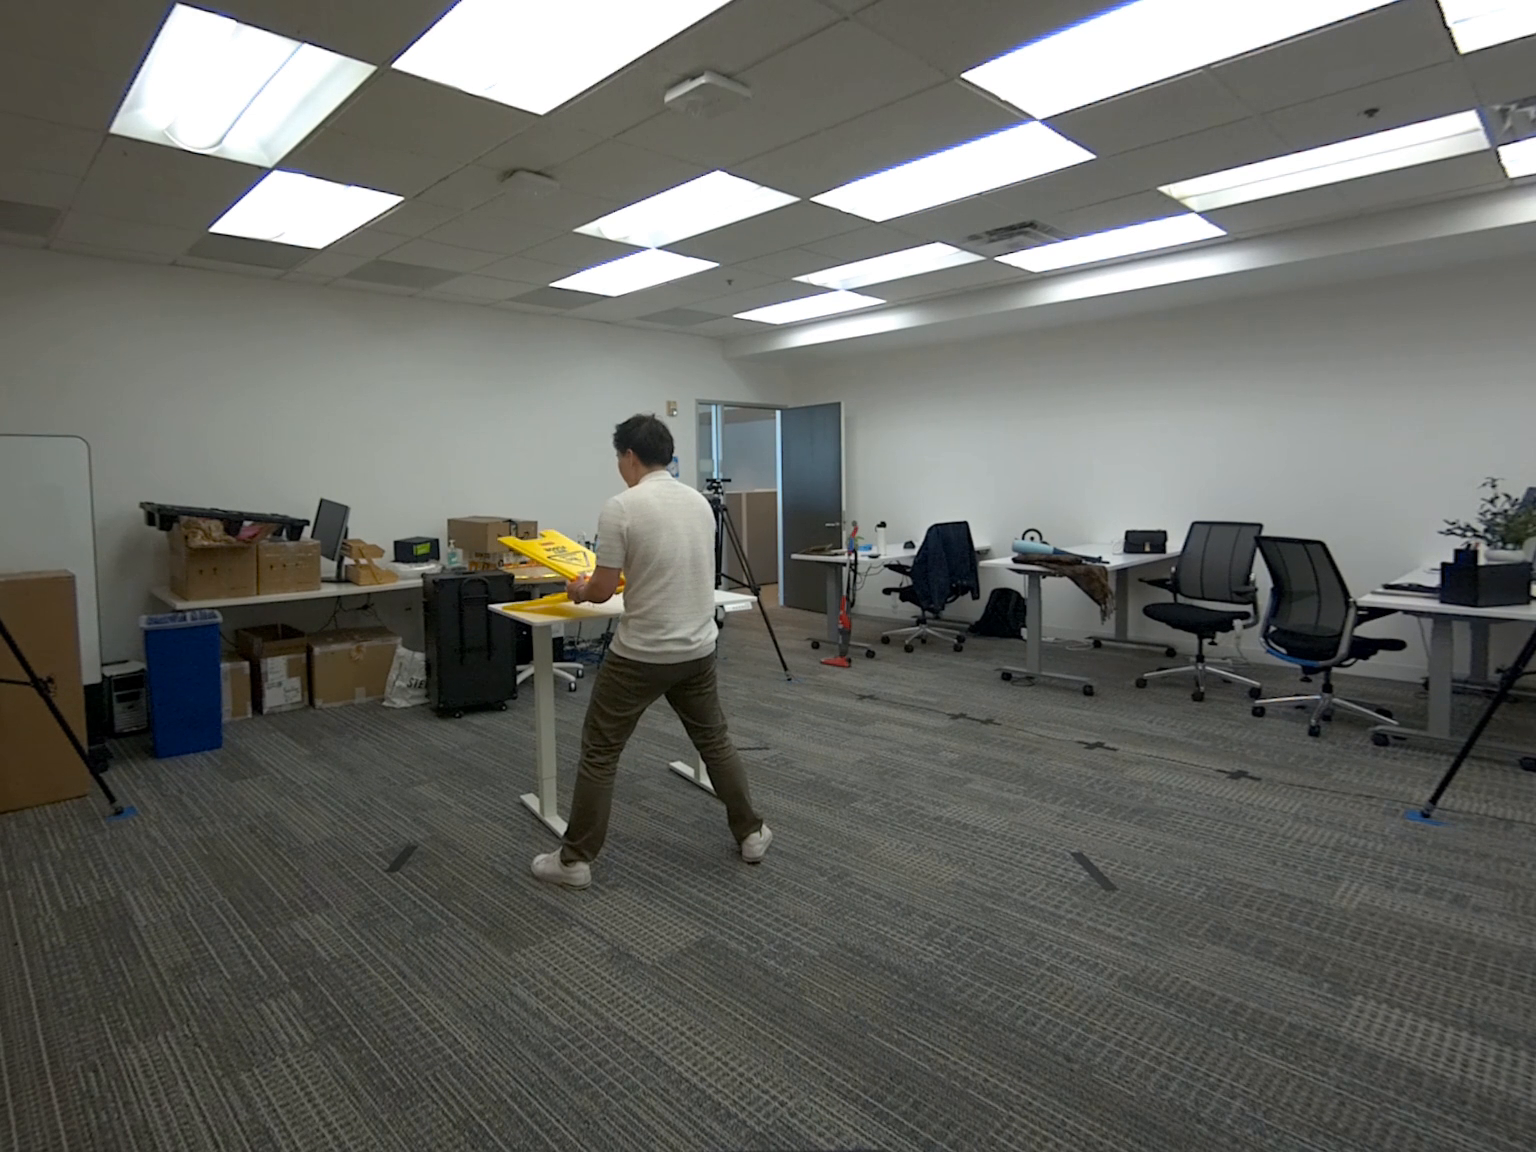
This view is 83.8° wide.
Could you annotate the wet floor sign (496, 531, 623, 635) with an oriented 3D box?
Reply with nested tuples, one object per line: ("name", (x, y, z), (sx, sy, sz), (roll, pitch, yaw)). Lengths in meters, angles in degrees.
("wet floor sign", (-0.768, 0.009, 3.387), (0.667, 0.287, 0.276), (8, 14, 42))
